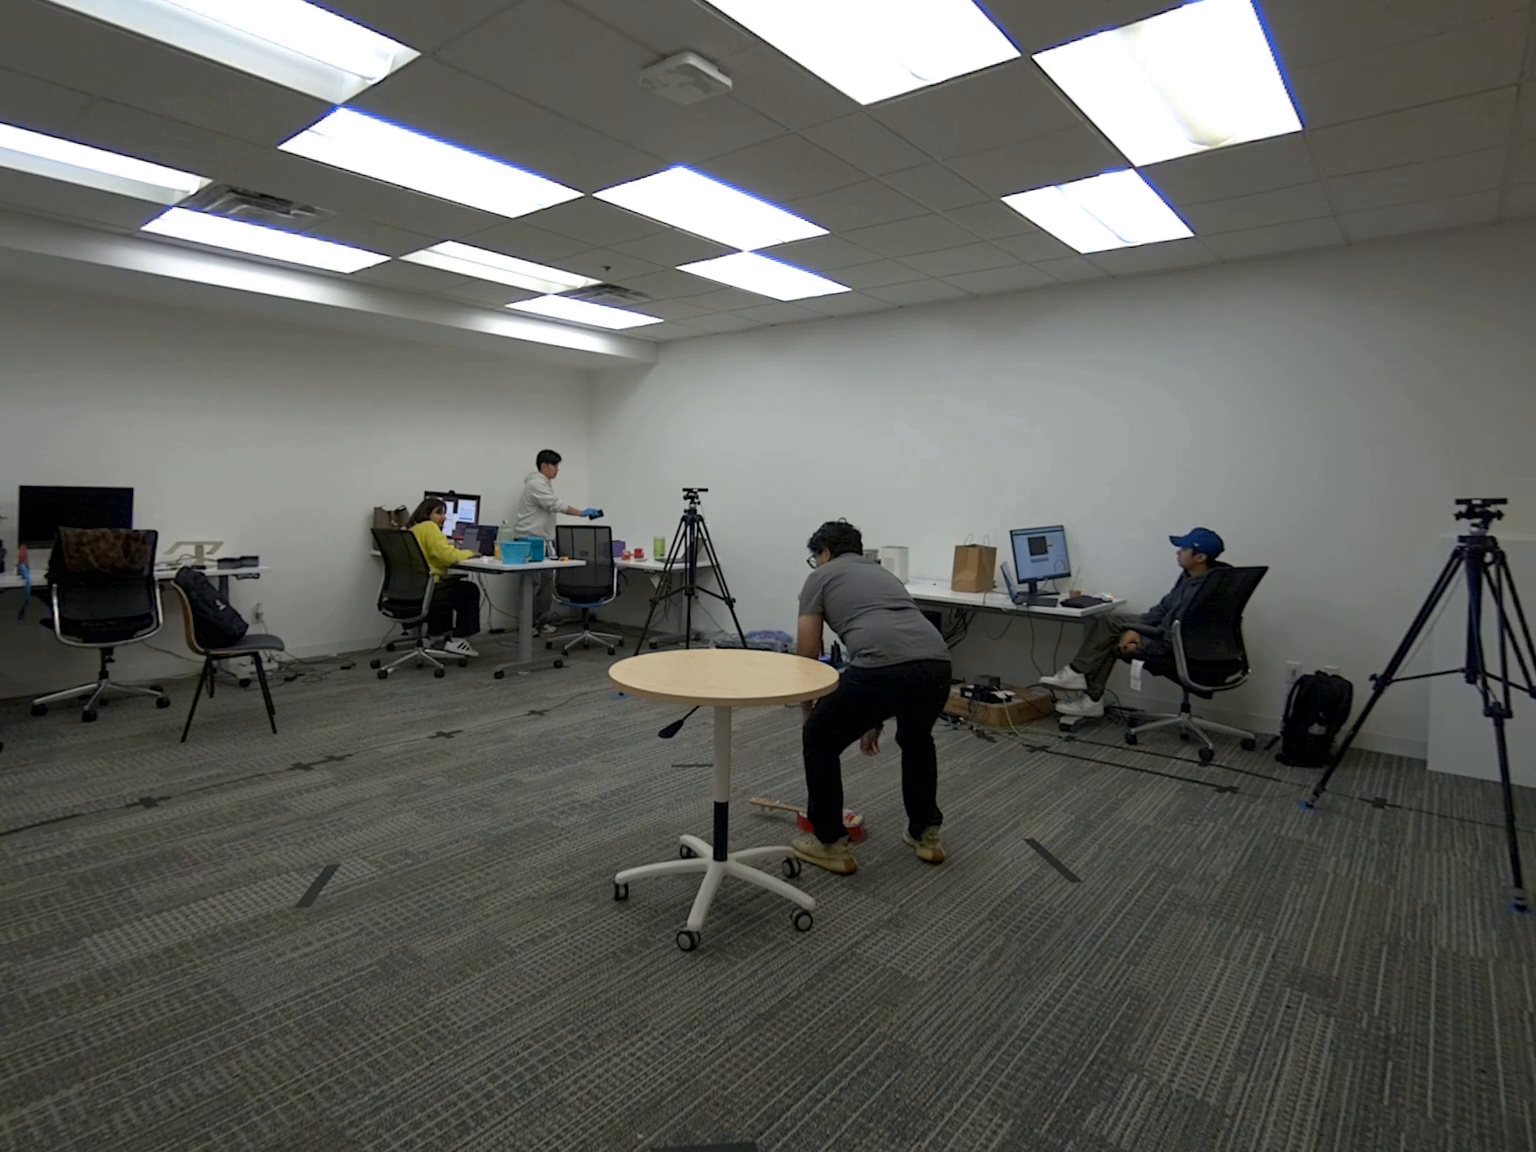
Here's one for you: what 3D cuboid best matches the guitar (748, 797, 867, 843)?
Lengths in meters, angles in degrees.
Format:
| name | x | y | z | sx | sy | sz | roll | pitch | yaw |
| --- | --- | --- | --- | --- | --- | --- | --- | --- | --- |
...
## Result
| name | x | y | z | sx | sy | sz | roll | pitch | yaw |
| --- | --- | --- | --- | --- | --- | --- | --- | --- | --- |
| guitar | 0.158 | 0.998 | 3.583 | 0.513 | 0.070 | 0.188 | 6 | 6 | 31 |
